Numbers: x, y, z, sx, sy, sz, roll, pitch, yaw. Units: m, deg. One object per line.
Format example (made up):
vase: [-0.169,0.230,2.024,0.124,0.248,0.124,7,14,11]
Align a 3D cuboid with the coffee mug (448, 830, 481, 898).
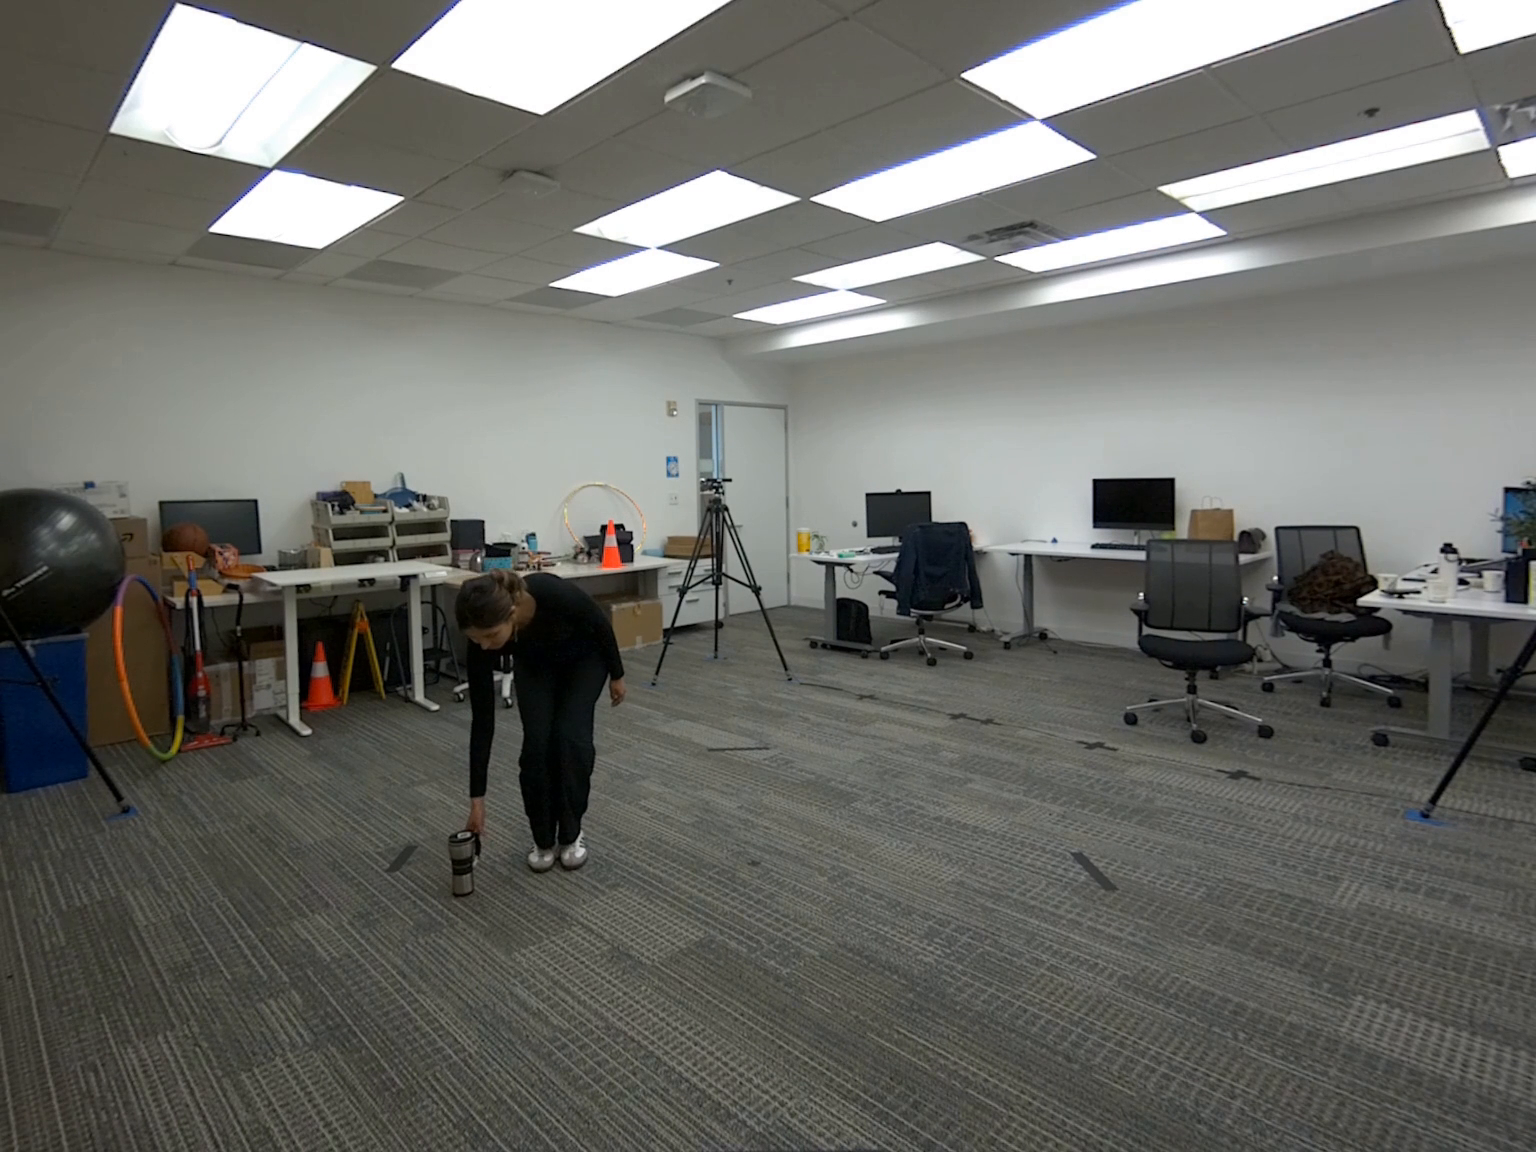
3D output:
coffee mug: [-1.036,0.988,2.941,0.119,0.202,0.090,-11,3,-38]
